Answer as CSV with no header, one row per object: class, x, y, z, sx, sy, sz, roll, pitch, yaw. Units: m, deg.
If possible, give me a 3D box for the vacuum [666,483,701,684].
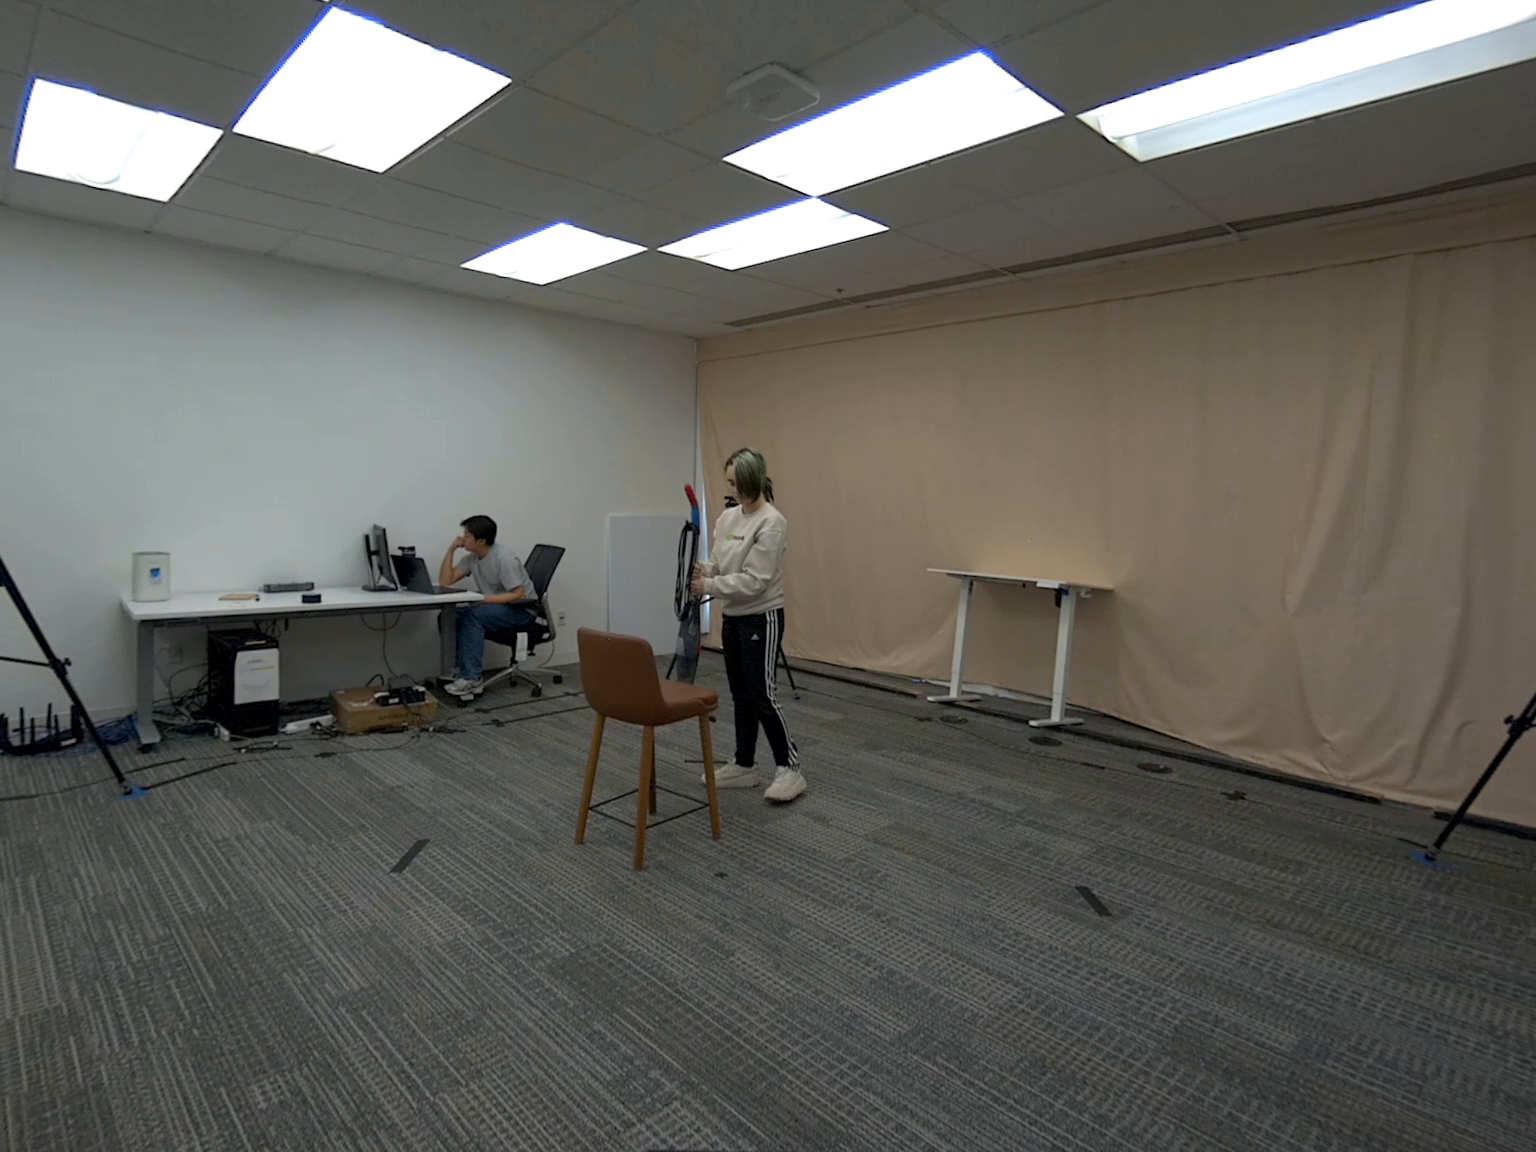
vacuum,-0.366,0.103,3.840,0.141,1.039,0.260,-12,18,-42
